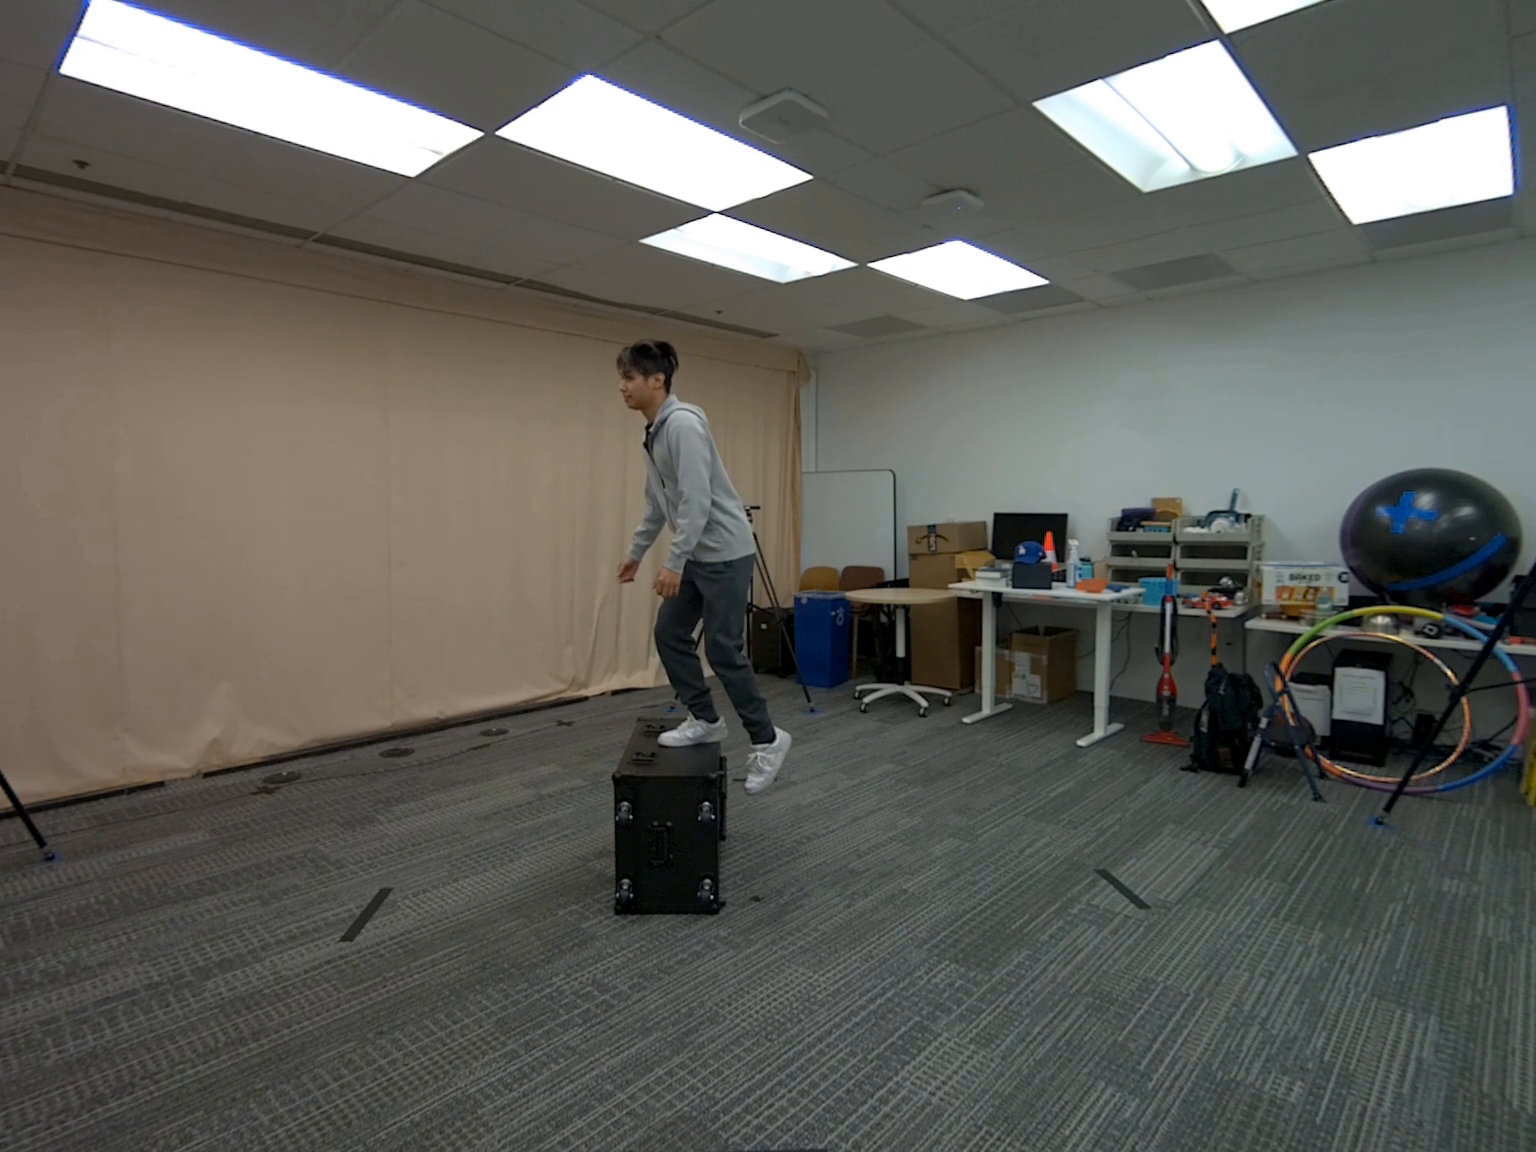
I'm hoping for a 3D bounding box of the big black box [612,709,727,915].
[{"bbox_3d":[-0.349,0.886,3.212,0.396,0.520,0.863,0,4,-1],"label":"big black box"}]
